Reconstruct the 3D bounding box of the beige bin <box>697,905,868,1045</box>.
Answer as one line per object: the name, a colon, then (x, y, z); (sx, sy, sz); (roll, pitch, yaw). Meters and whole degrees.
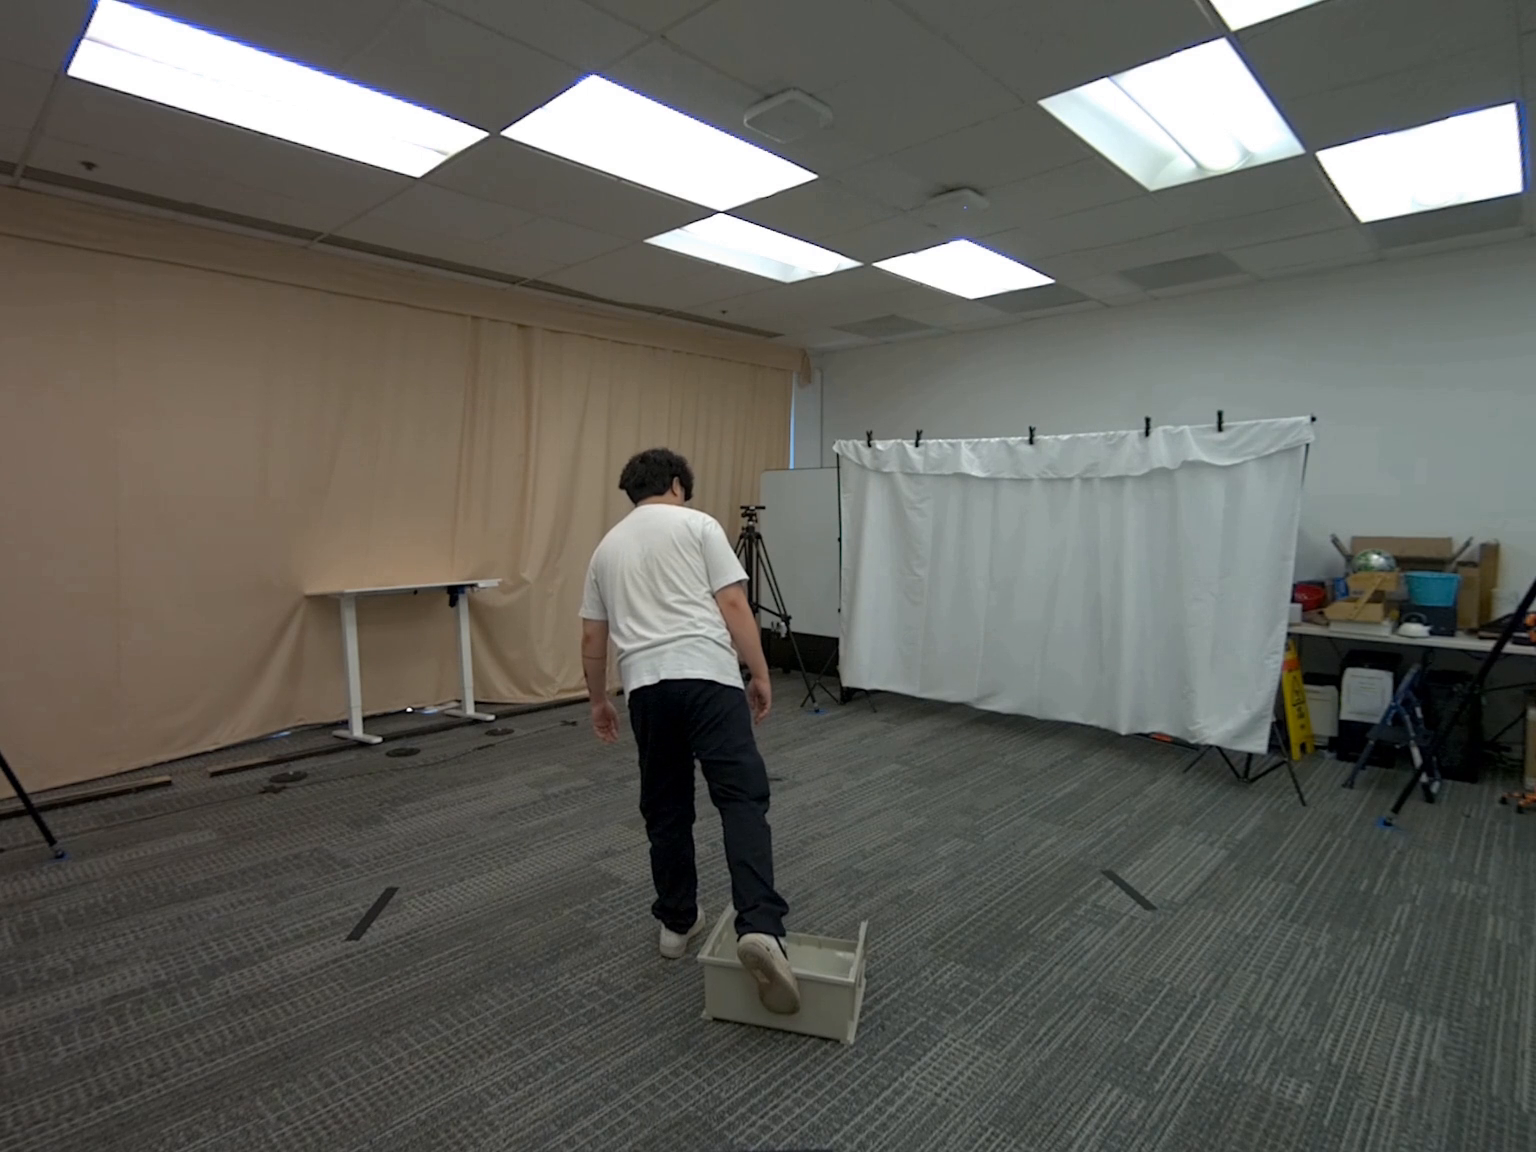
beige bin: (0.061, 1.107, 2.392); (0.429, 0.188, 0.373); (1, 6, 14)
